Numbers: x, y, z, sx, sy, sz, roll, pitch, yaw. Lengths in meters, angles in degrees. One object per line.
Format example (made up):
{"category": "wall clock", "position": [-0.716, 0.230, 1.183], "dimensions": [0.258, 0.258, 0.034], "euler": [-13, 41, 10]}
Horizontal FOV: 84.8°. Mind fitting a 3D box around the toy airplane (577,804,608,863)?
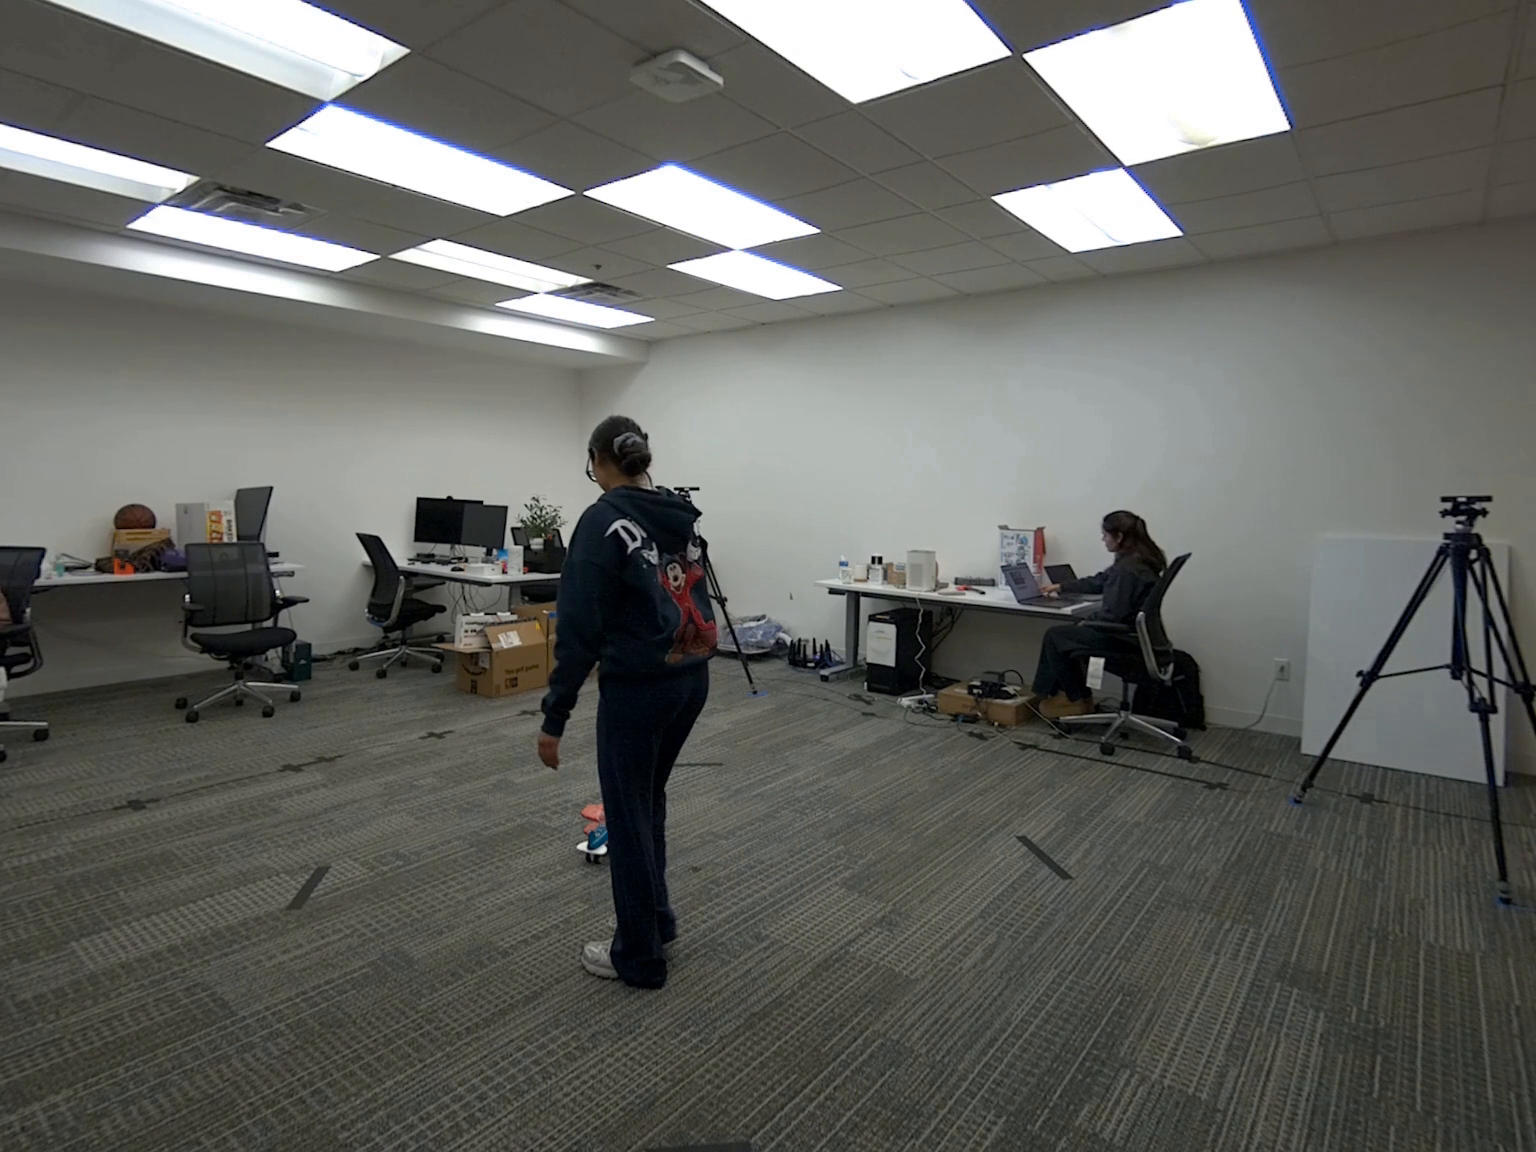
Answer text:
{"category": "toy airplane", "position": [-0.601, 0.973, 3.220], "dimensions": [0.249, 0.156, 0.262], "euler": [-1, 5, -8]}
